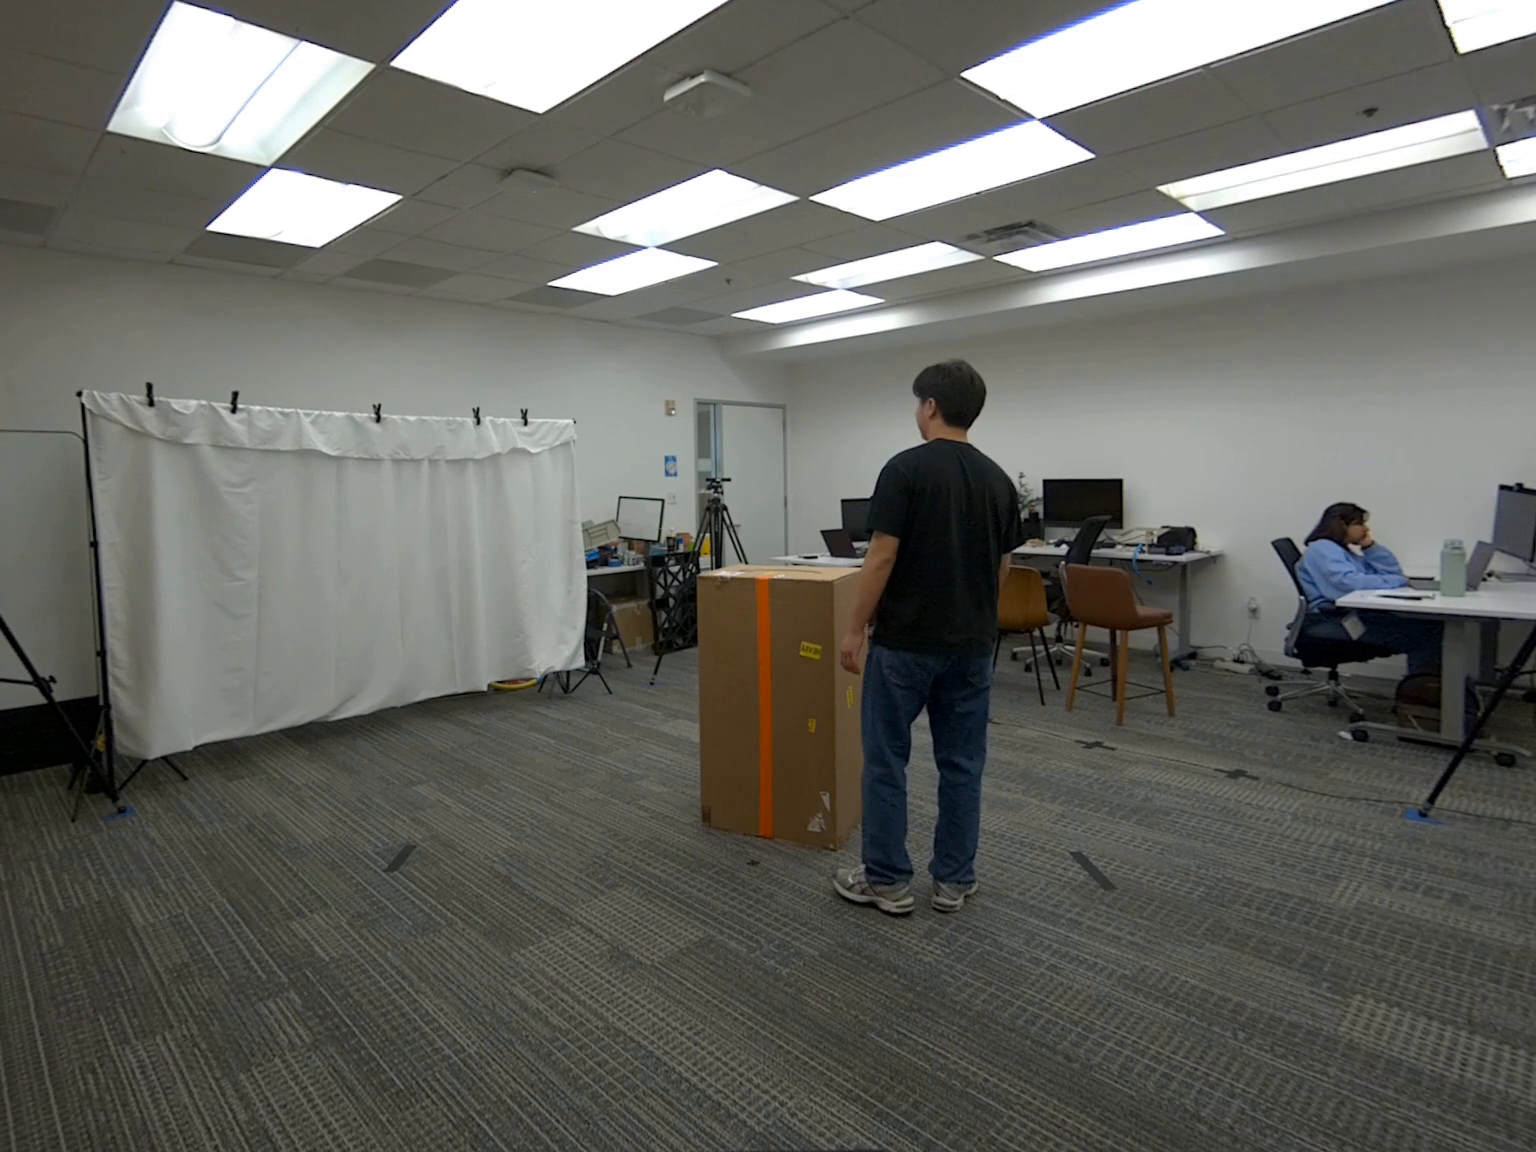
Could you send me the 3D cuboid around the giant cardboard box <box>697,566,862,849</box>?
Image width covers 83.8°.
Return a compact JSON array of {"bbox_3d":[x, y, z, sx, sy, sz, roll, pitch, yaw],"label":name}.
[{"bbox_3d":[0.070,0.486,3.471,0.598,1.022,0.438,2,6,27],"label":"giant cardboard box"}]
